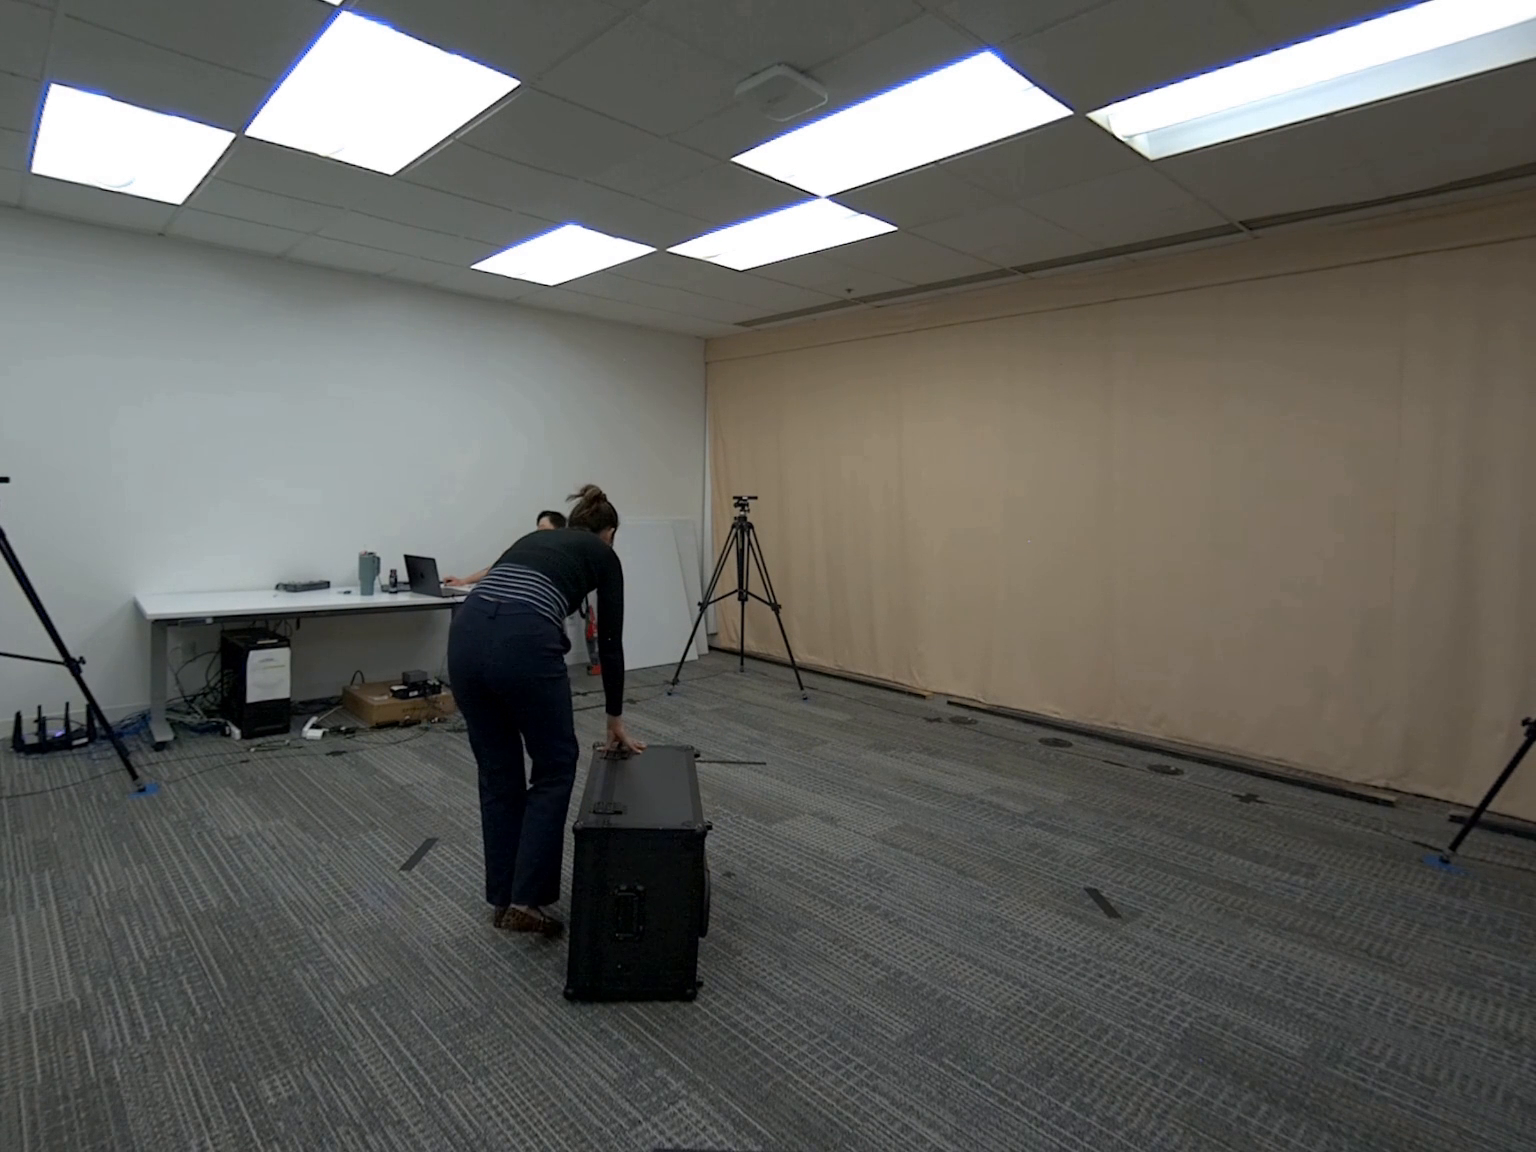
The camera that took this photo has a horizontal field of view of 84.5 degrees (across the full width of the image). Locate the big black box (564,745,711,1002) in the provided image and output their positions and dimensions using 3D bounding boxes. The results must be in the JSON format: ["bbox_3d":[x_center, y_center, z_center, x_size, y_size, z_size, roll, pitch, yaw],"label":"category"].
[{"bbox_3d":[-0.400,0.881,2.705,0.394,0.520,0.868,3,4,-7],"label":"big black box"}]
